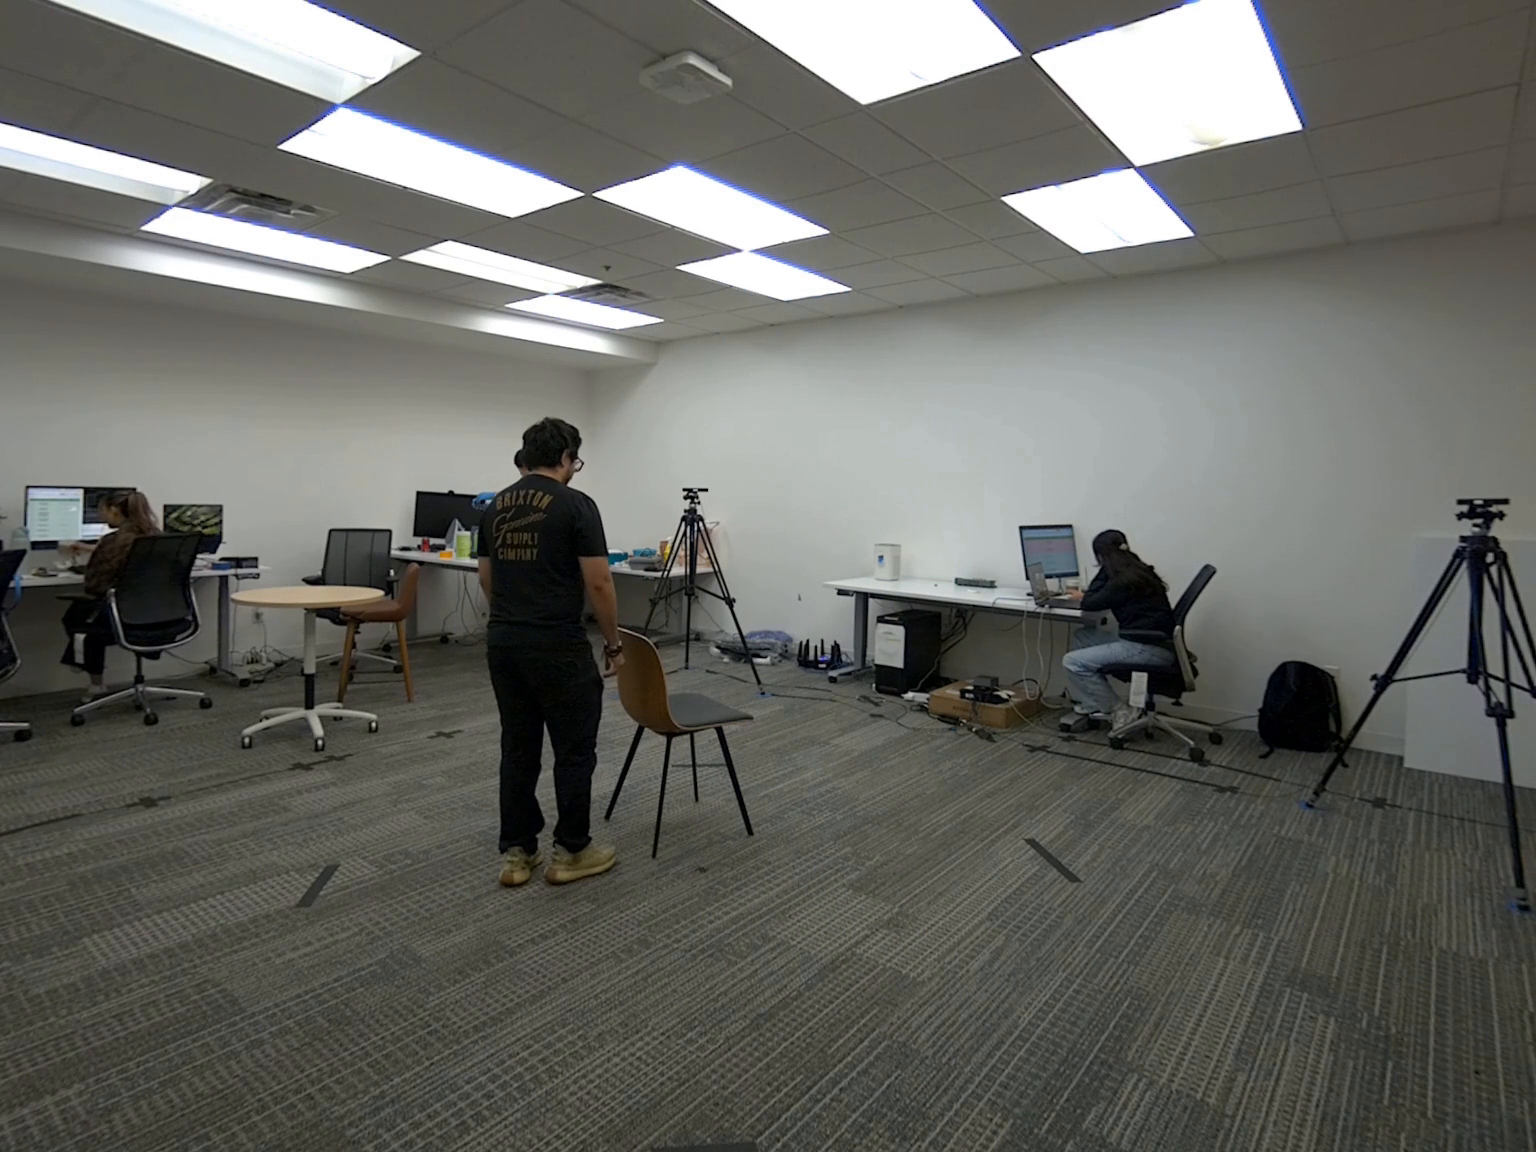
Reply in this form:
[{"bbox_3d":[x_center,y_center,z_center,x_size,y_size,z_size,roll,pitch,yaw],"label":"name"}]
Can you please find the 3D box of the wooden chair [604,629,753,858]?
[{"bbox_3d":[-0.370,0.605,3.474,0.510,0.873,0.493,-6,6,-33],"label":"wooden chair"}]
